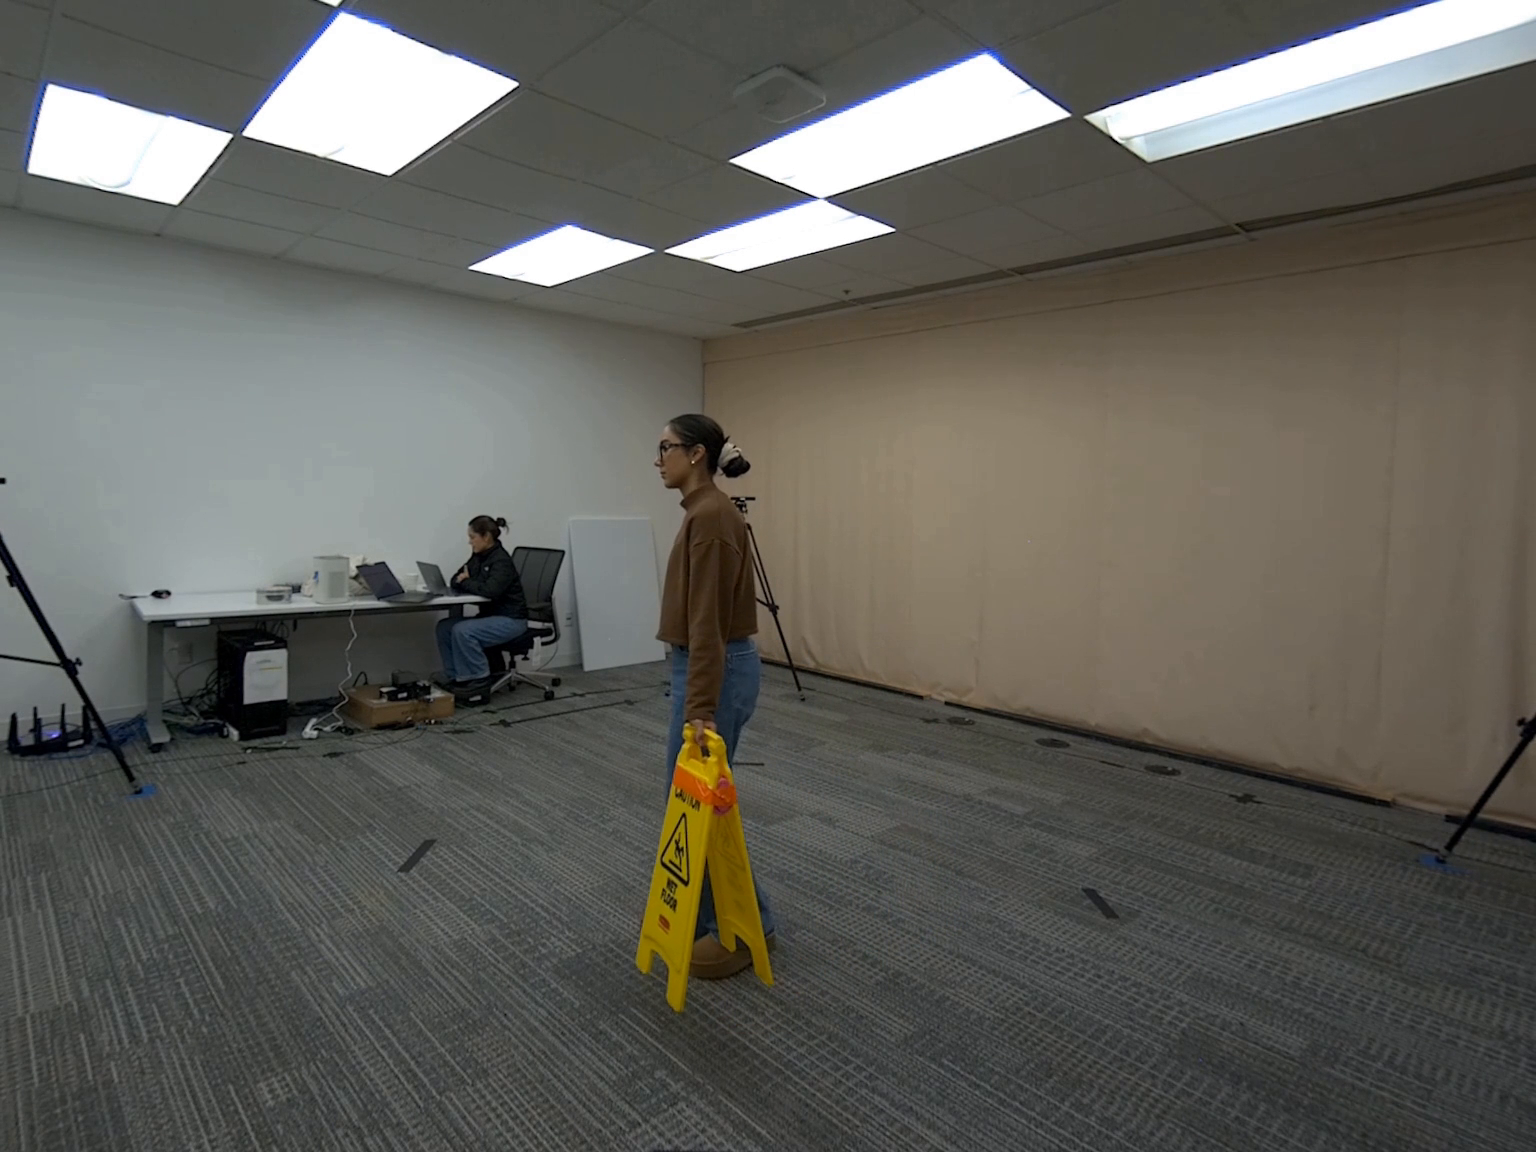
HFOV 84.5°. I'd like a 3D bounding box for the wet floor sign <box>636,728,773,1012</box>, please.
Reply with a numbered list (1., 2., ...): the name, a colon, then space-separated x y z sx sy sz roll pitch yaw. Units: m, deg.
1. wet floor sign: -0.175 0.734 2.212 0.284 0.646 0.288 1 0 -30
